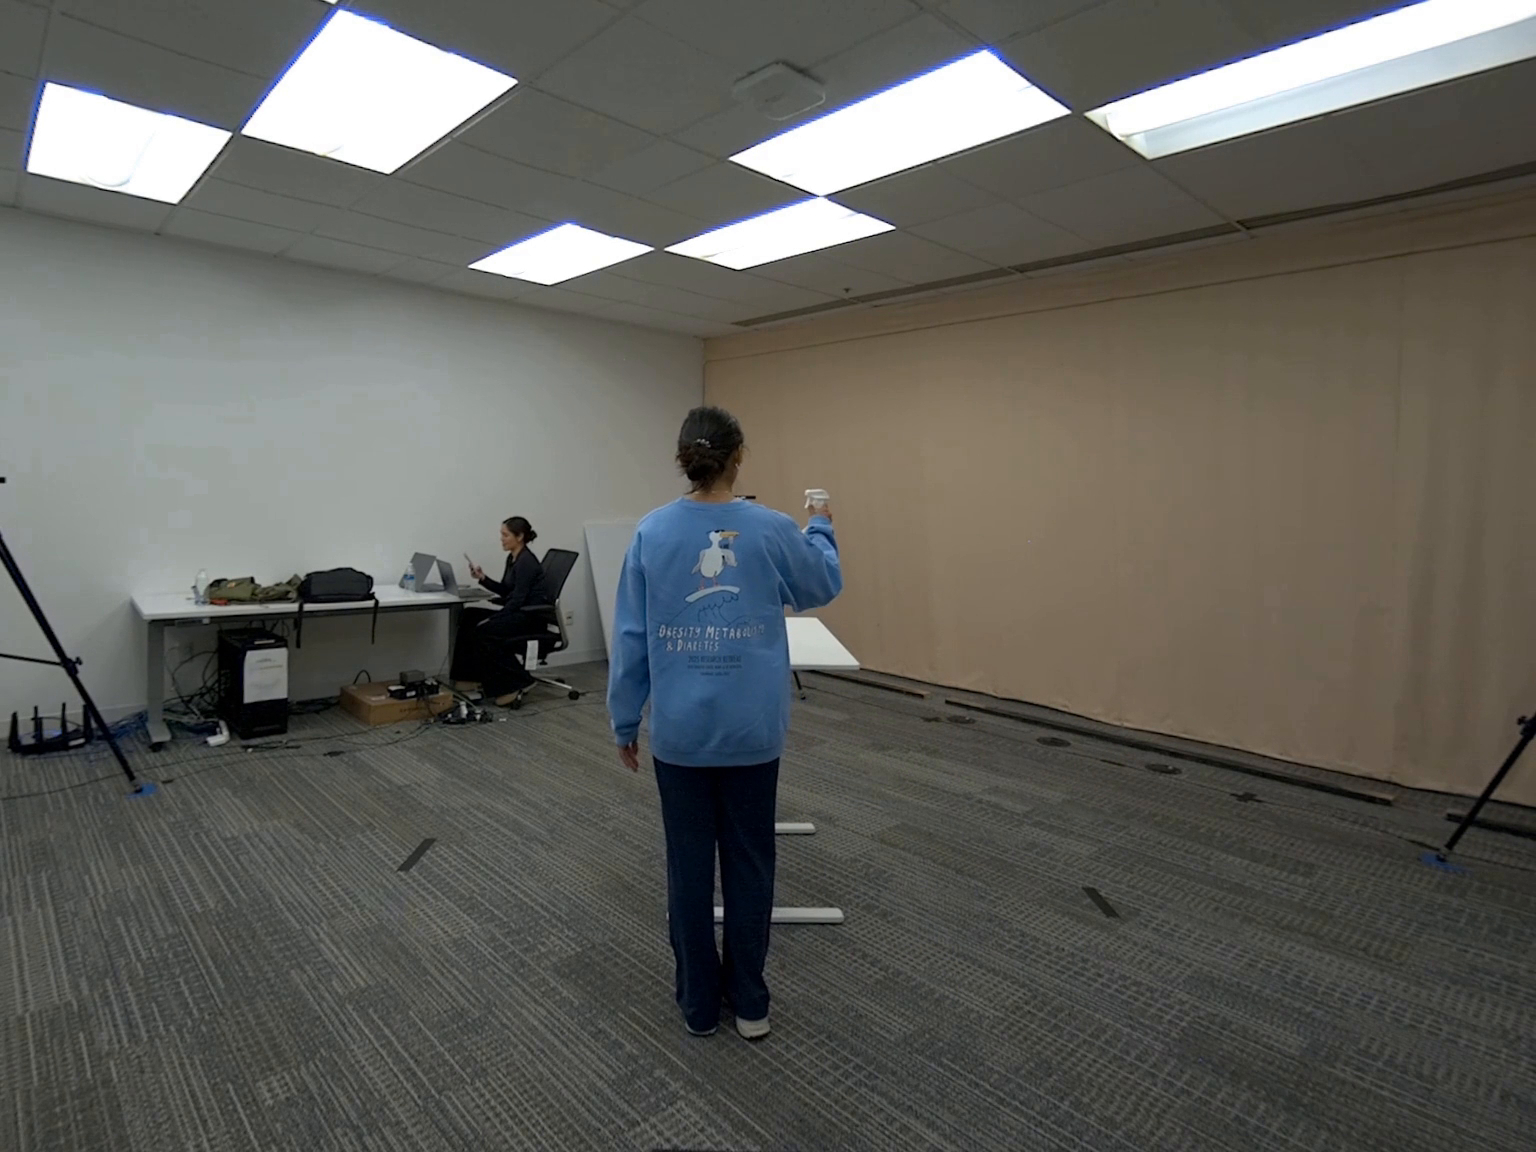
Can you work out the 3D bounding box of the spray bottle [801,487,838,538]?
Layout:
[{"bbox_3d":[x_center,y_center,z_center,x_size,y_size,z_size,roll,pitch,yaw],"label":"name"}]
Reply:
[{"bbox_3d":[0.154,-0.120,2.622,0.089,0.294,0.088,-1,16,-7],"label":"spray bottle"}]
